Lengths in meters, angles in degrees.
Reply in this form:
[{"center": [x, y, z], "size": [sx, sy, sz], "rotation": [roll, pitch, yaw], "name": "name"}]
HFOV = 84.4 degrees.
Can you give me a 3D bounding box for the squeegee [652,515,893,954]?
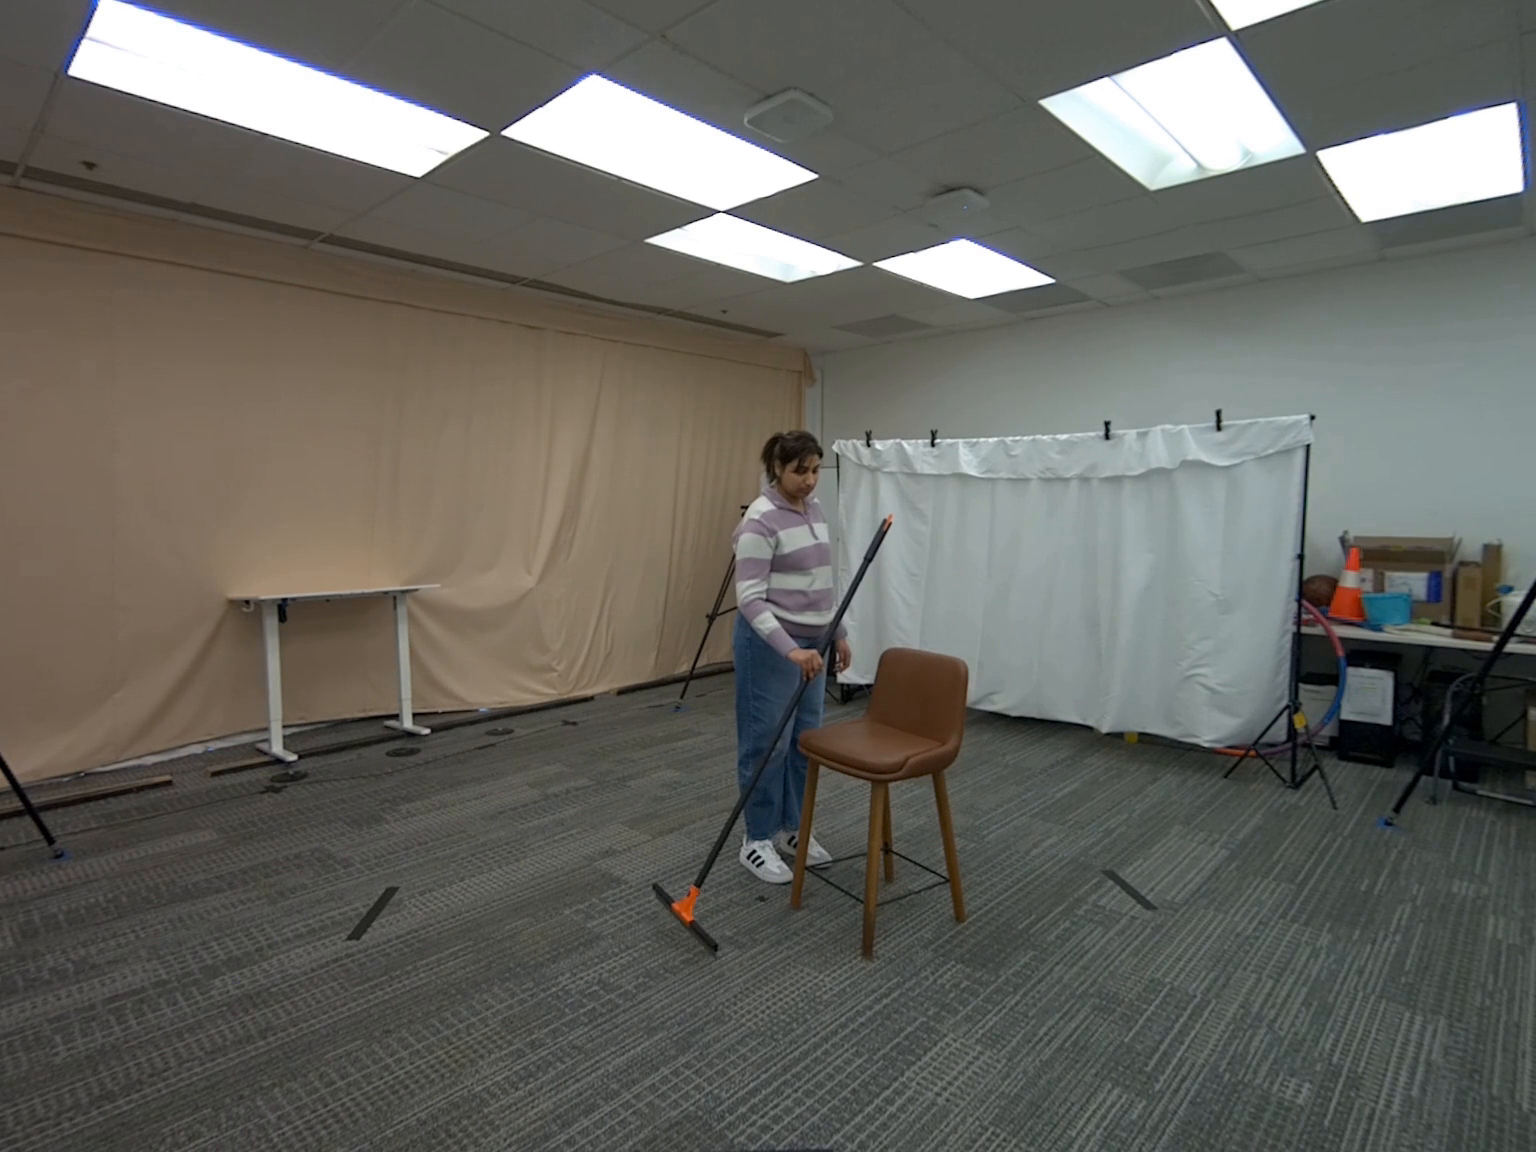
[{"center": [0.076, 0.437, 2.817], "size": [0.051, 1.538, 0.451], "rotation": [34, -12, -31], "name": "squeegee"}]
